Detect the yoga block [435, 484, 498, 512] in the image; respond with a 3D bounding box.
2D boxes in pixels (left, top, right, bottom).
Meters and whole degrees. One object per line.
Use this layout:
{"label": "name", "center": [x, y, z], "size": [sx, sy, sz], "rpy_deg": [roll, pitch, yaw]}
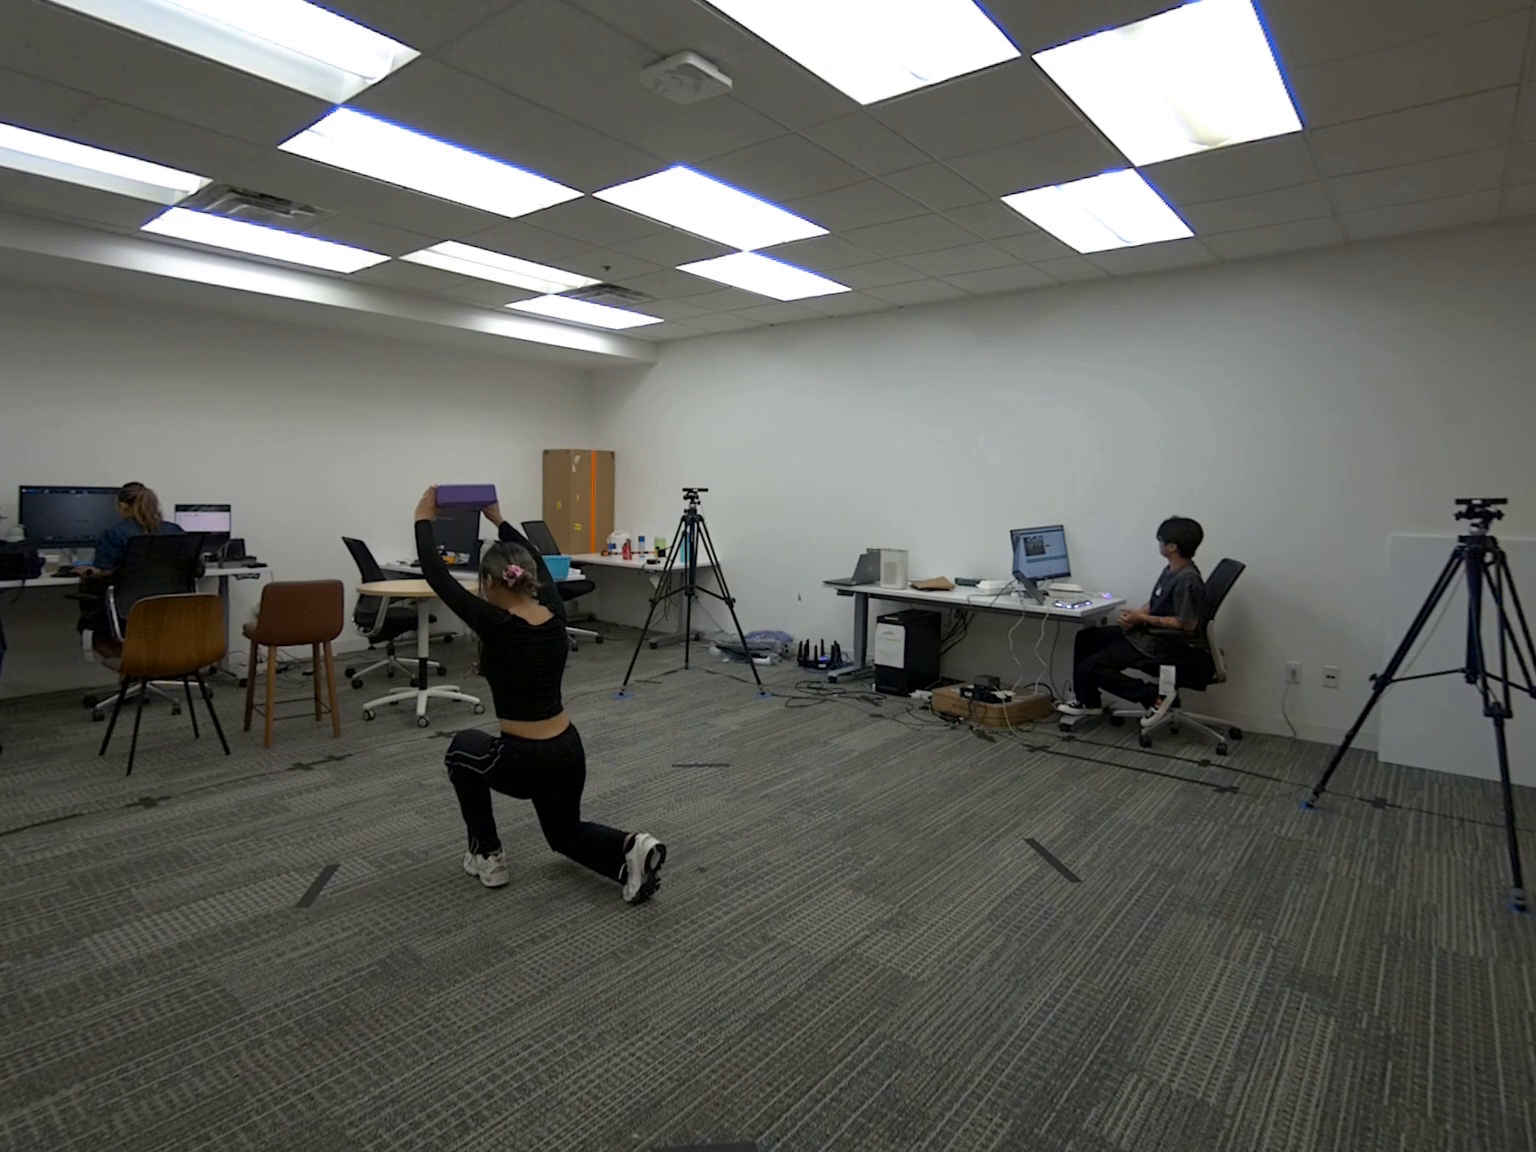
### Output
{"label": "yoga block", "center": [-1.171, -0.298, 3.186], "size": [0.223, 0.077, 0.152], "rpy_deg": [-8, -3, -44]}
